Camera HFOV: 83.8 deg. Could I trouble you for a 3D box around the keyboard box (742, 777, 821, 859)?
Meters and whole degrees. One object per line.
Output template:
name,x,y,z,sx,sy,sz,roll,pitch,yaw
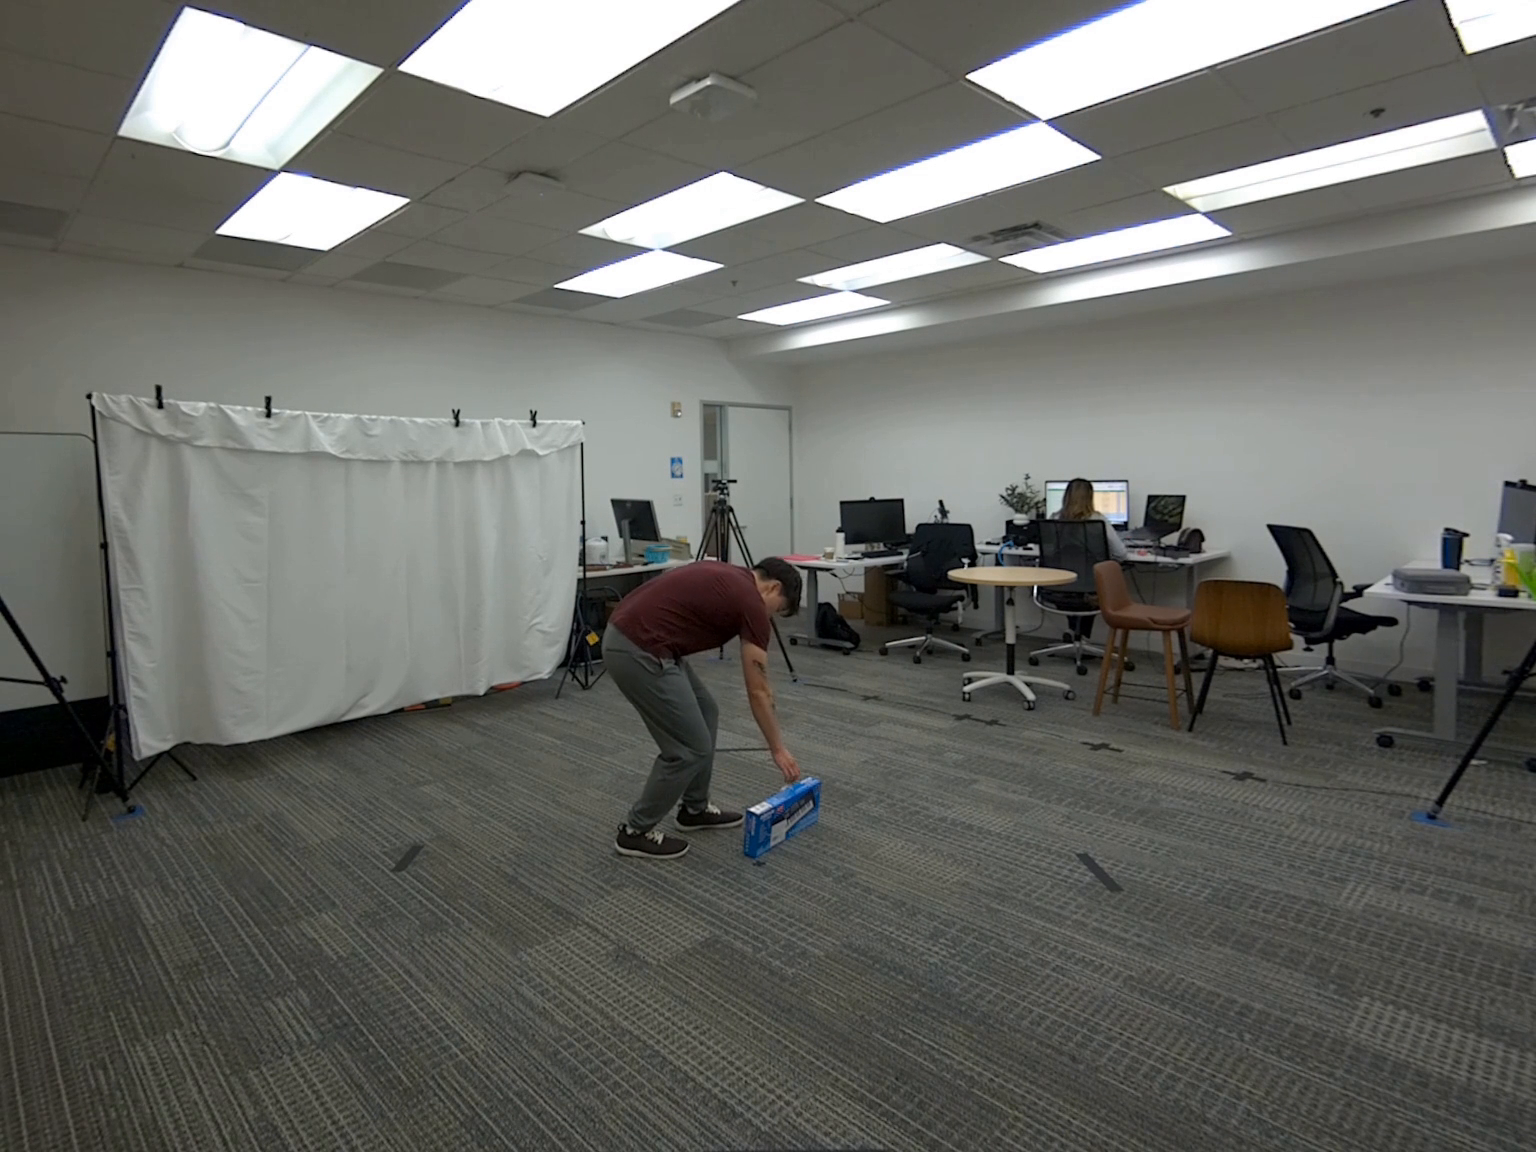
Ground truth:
keyboard box,0.060,0.932,3.324,0.061,0.174,0.426,12,13,35
